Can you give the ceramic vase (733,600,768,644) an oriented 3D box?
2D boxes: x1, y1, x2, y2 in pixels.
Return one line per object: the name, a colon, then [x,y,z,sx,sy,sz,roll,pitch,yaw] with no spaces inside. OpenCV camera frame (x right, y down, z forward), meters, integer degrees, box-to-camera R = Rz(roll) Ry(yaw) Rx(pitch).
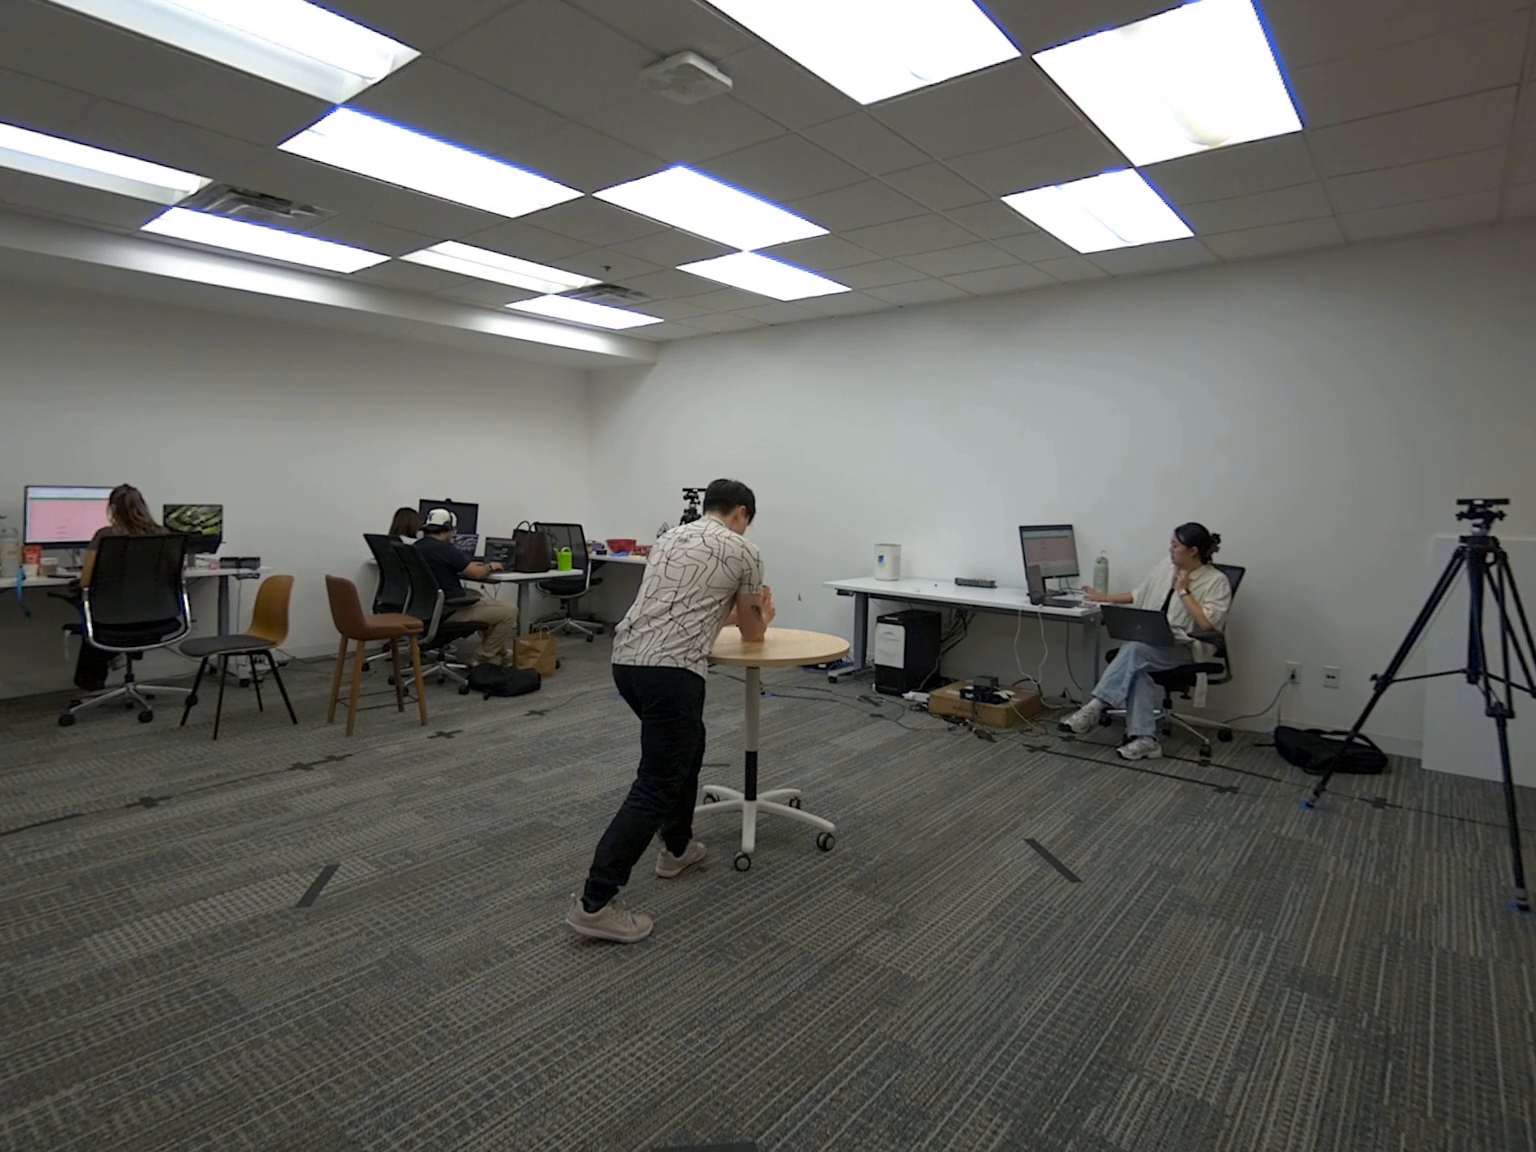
ceramic vase: [-0.069,0.151,3.444,0.139,0.219,0.154,3,2,33]
